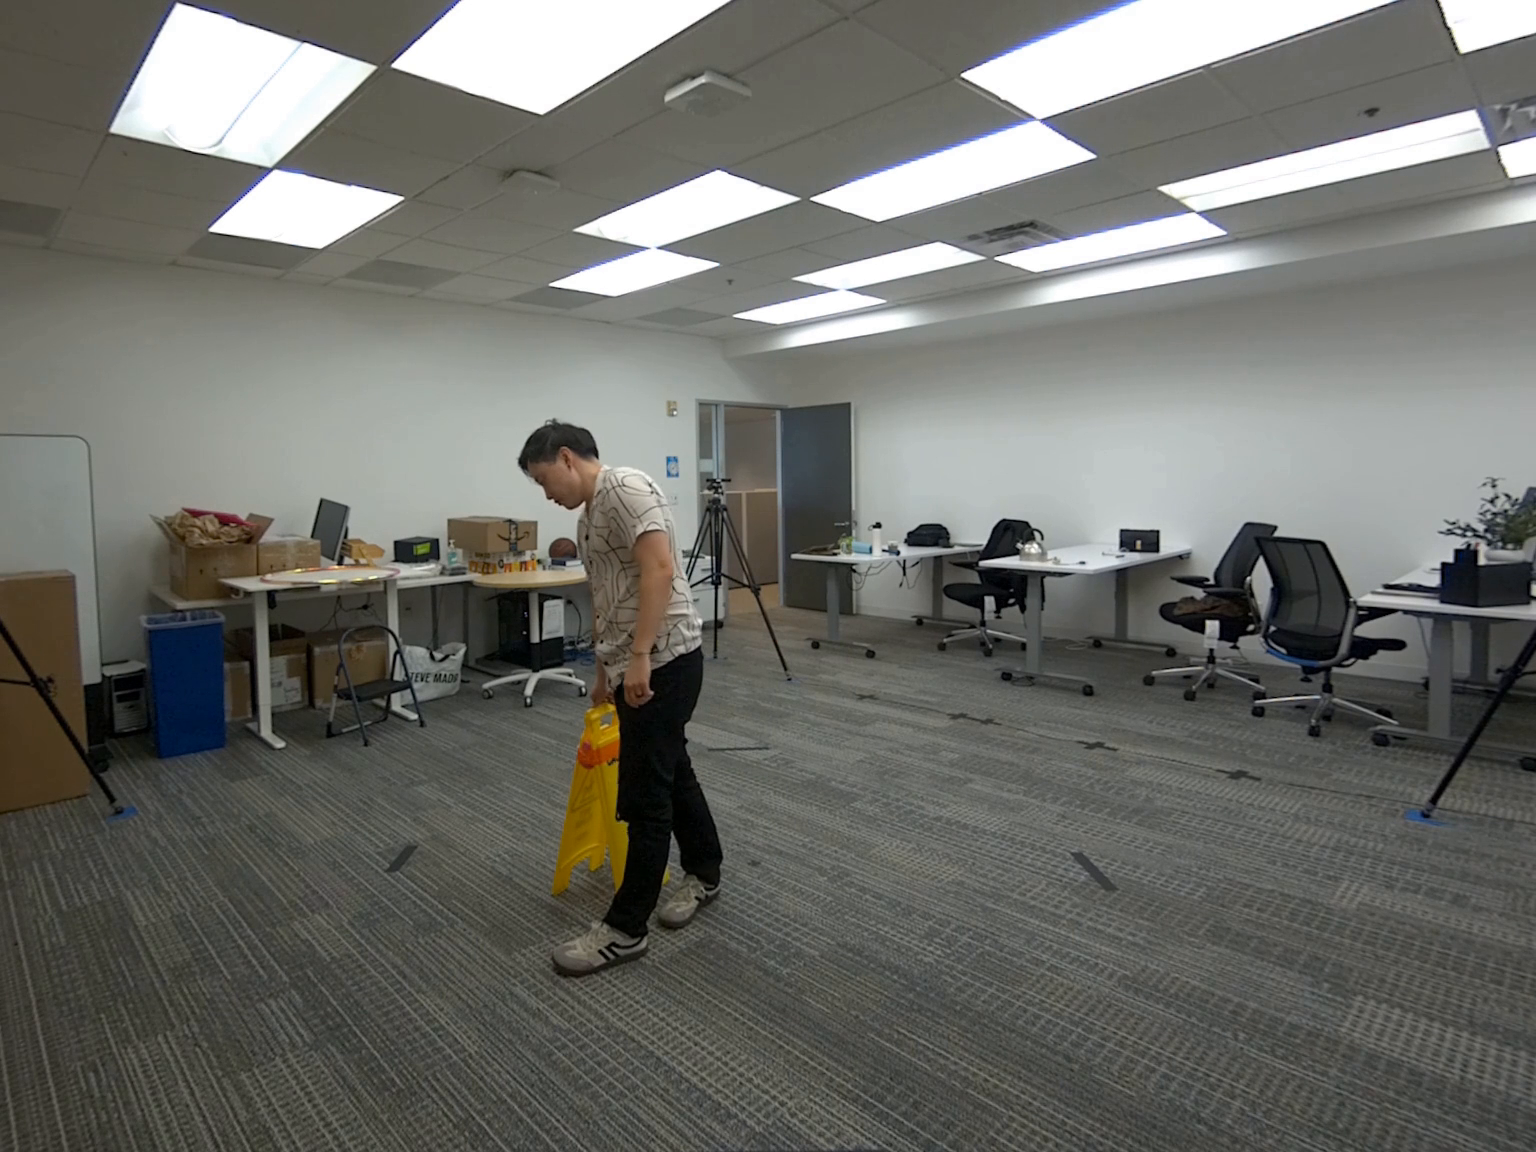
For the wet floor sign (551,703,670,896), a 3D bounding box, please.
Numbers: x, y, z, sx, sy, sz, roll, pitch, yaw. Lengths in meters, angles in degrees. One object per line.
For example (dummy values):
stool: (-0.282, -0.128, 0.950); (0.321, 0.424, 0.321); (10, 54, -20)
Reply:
wet floor sign: (-0.539, 0.750, 2.911); (0.297, 0.643, 0.276); (2, 6, 28)
